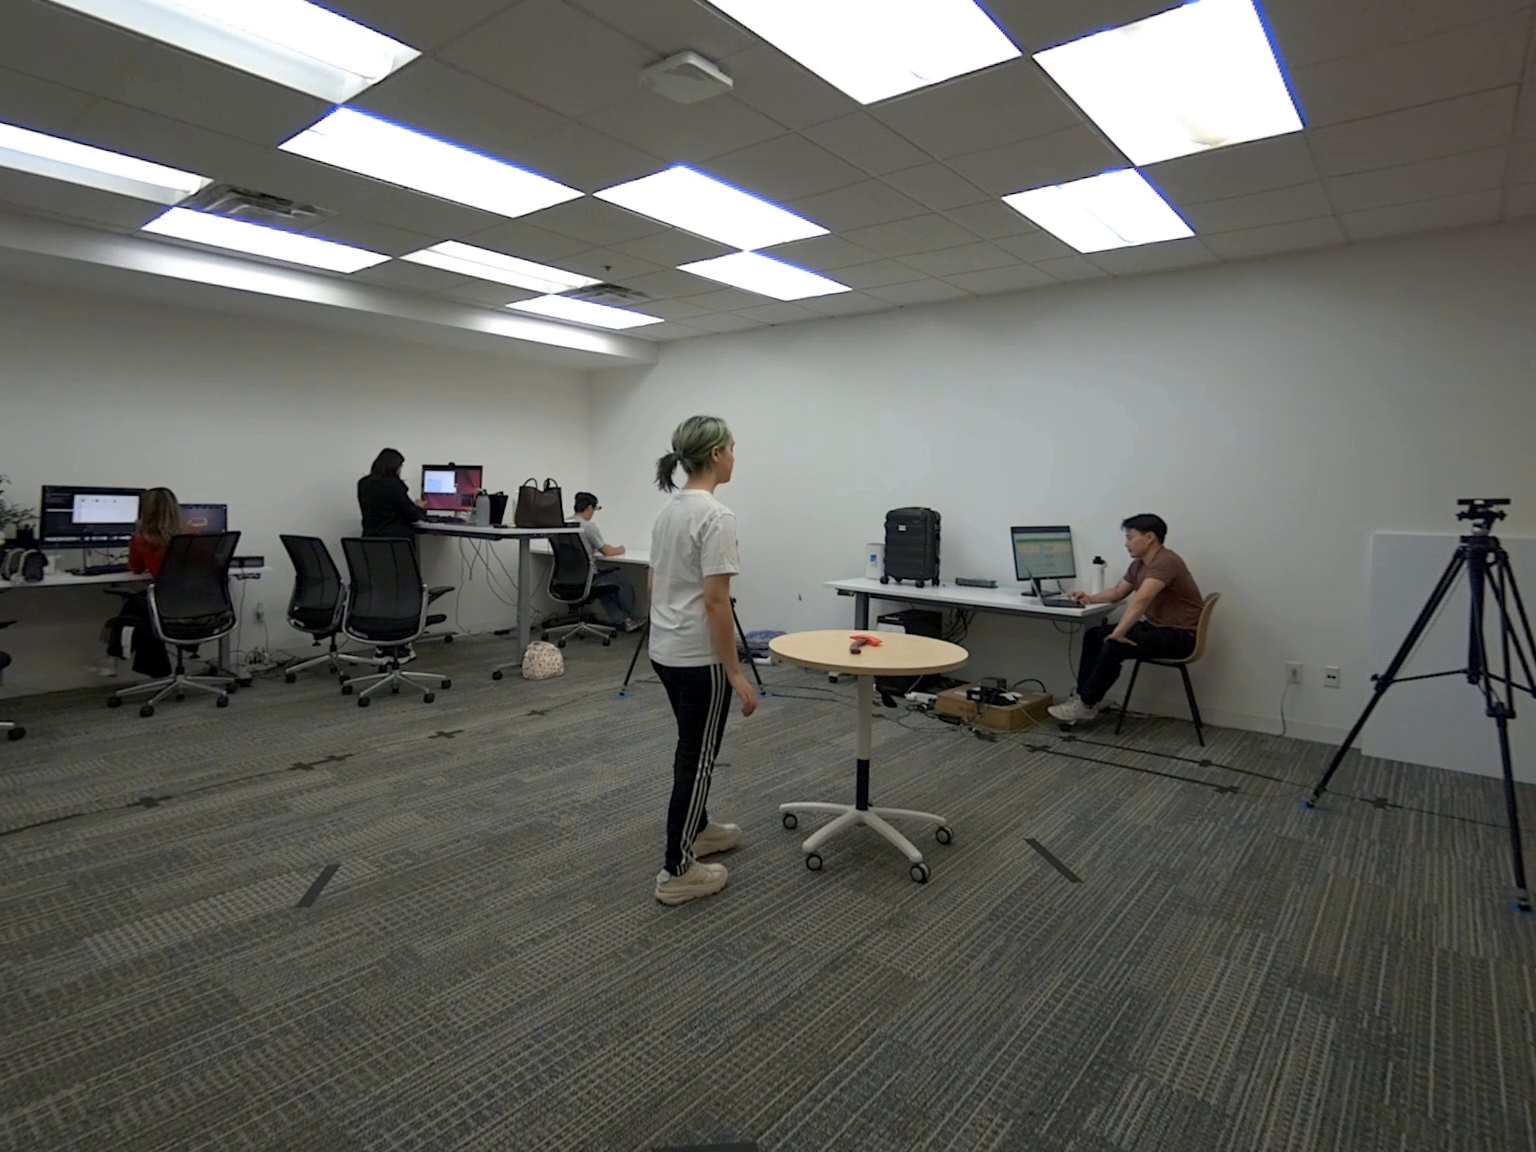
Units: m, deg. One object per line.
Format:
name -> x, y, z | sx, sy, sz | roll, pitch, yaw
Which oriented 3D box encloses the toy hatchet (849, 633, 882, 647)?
toy hatchet -> 0.374, 0.265, 3.310 | 0.132, 0.029, 0.270 | 6, 9, 3
